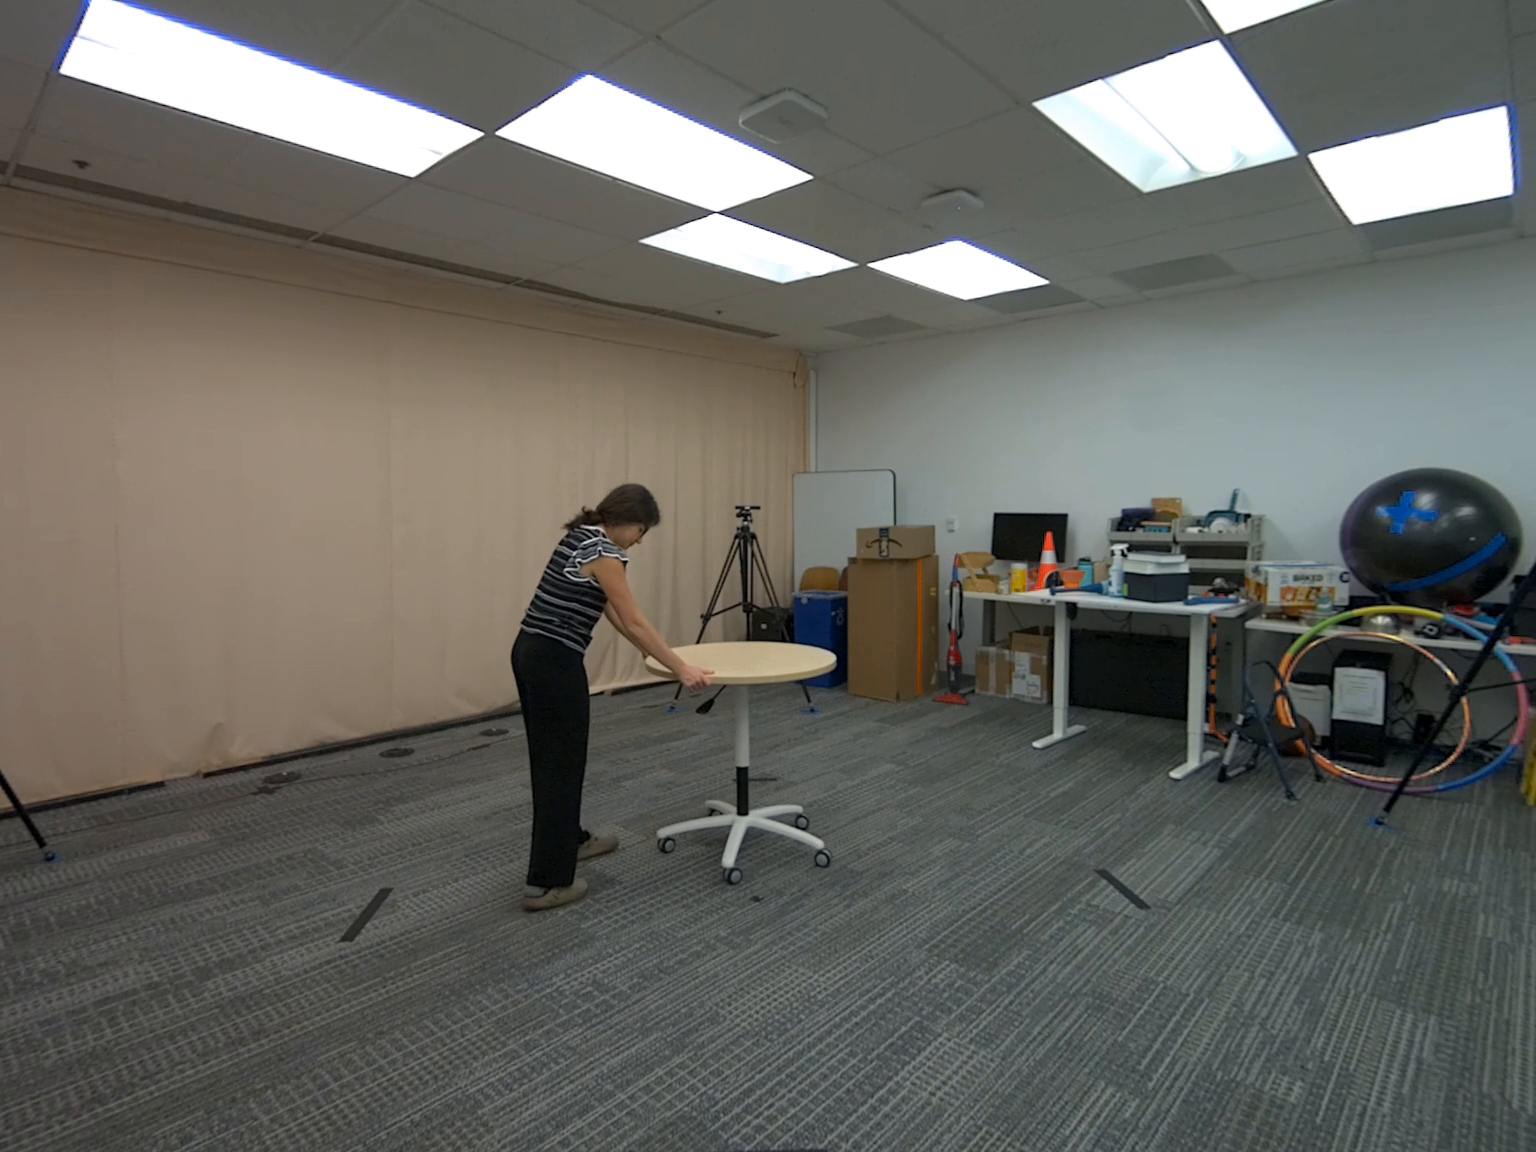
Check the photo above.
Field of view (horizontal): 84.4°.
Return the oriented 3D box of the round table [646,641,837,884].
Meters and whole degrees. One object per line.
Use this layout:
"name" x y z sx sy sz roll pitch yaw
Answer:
"round table" -0.093 0.721 3.406 0.763 0.792 0.767 -1 4 -2
